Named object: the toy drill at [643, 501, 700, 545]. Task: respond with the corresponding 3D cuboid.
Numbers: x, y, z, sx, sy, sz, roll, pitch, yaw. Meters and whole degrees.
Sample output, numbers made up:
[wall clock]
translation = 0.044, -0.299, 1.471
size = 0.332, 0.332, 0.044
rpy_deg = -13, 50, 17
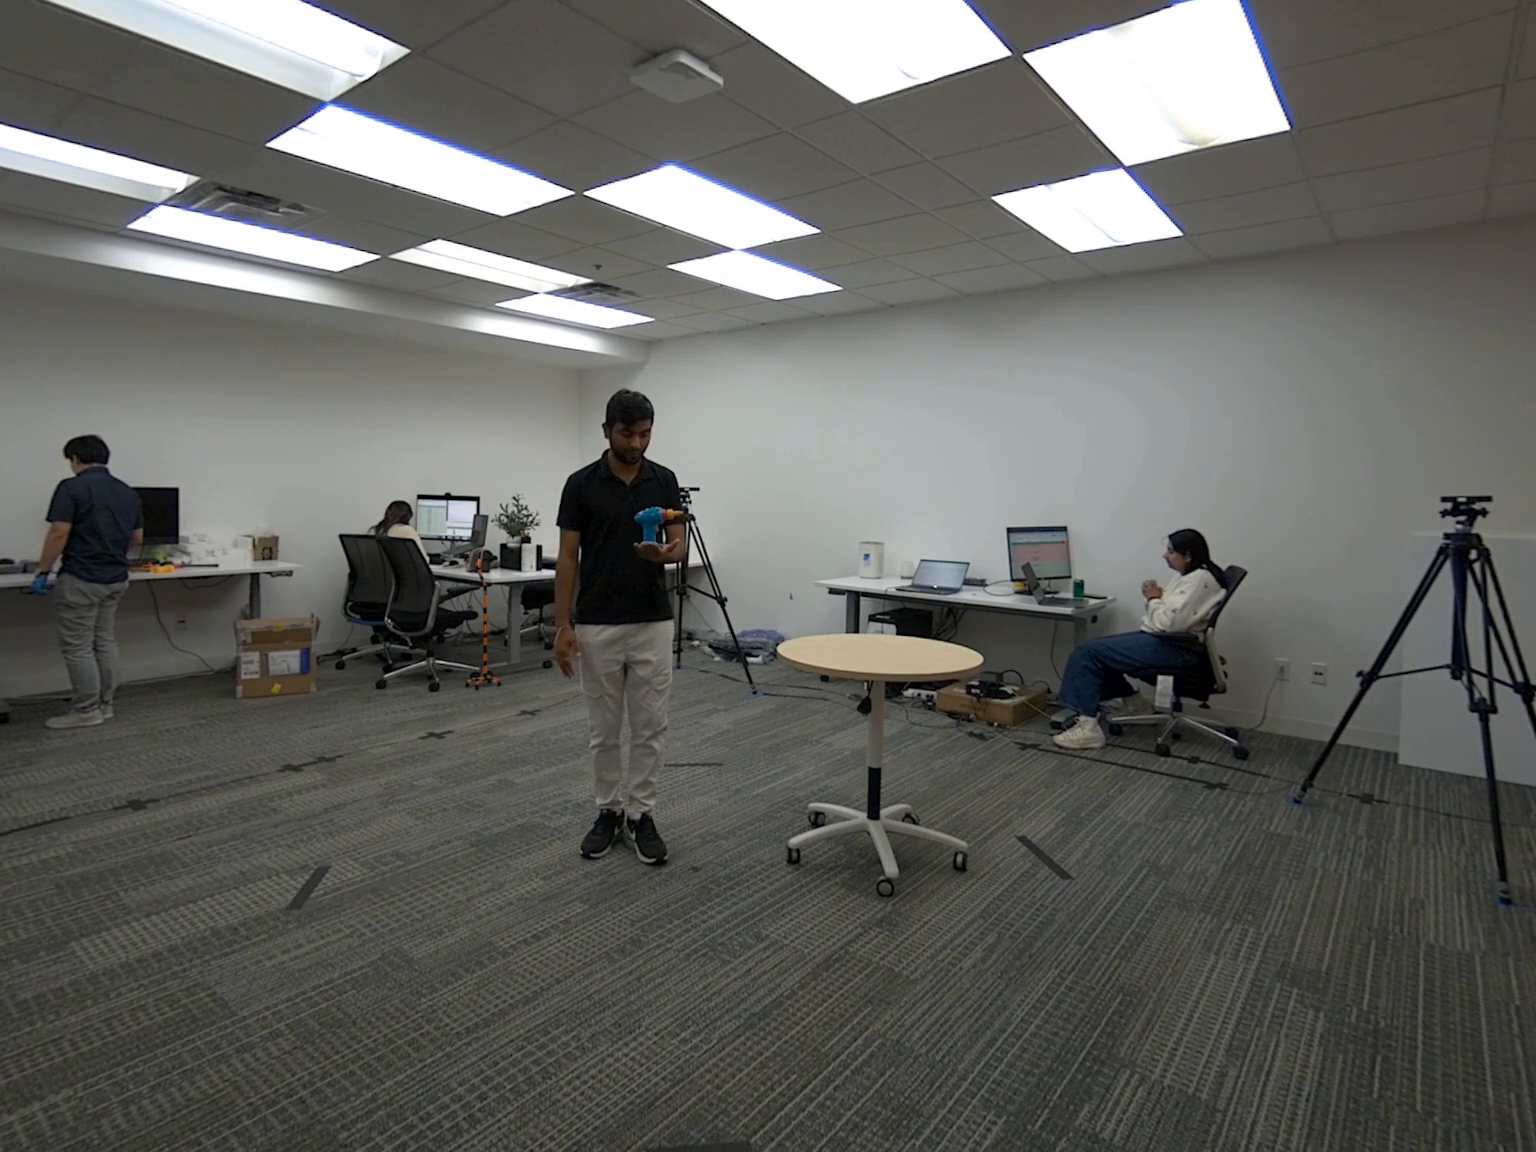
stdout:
[toy drill]
translation = -0.342, -0.177, 2.967
size = 0.170, 0.146, 0.061
rpy_deg = -10, 1, 0
